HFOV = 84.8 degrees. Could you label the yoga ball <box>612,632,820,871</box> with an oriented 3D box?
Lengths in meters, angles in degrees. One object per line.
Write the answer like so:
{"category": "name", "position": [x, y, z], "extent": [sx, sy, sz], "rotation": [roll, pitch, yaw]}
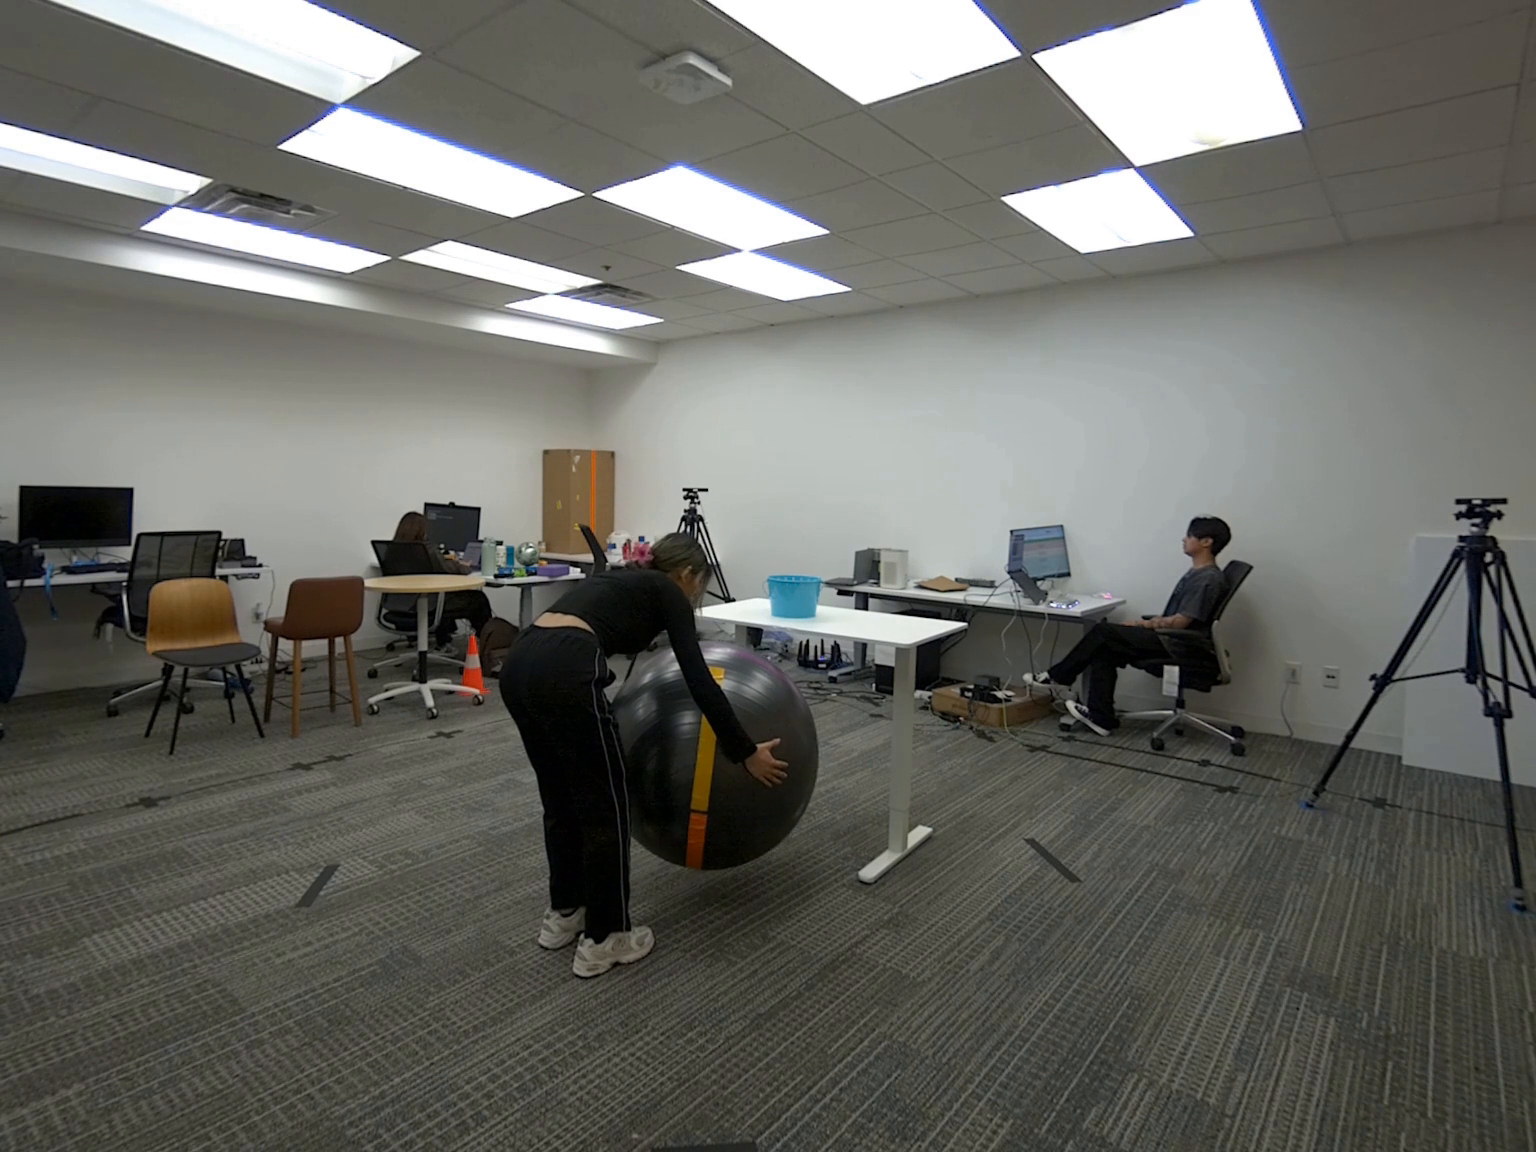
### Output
{"category": "yoga ball", "position": [-0.211, 0.614, 2.933], "extent": [0.757, 0.756, 0.761], "rotation": [1, 4, -2]}
